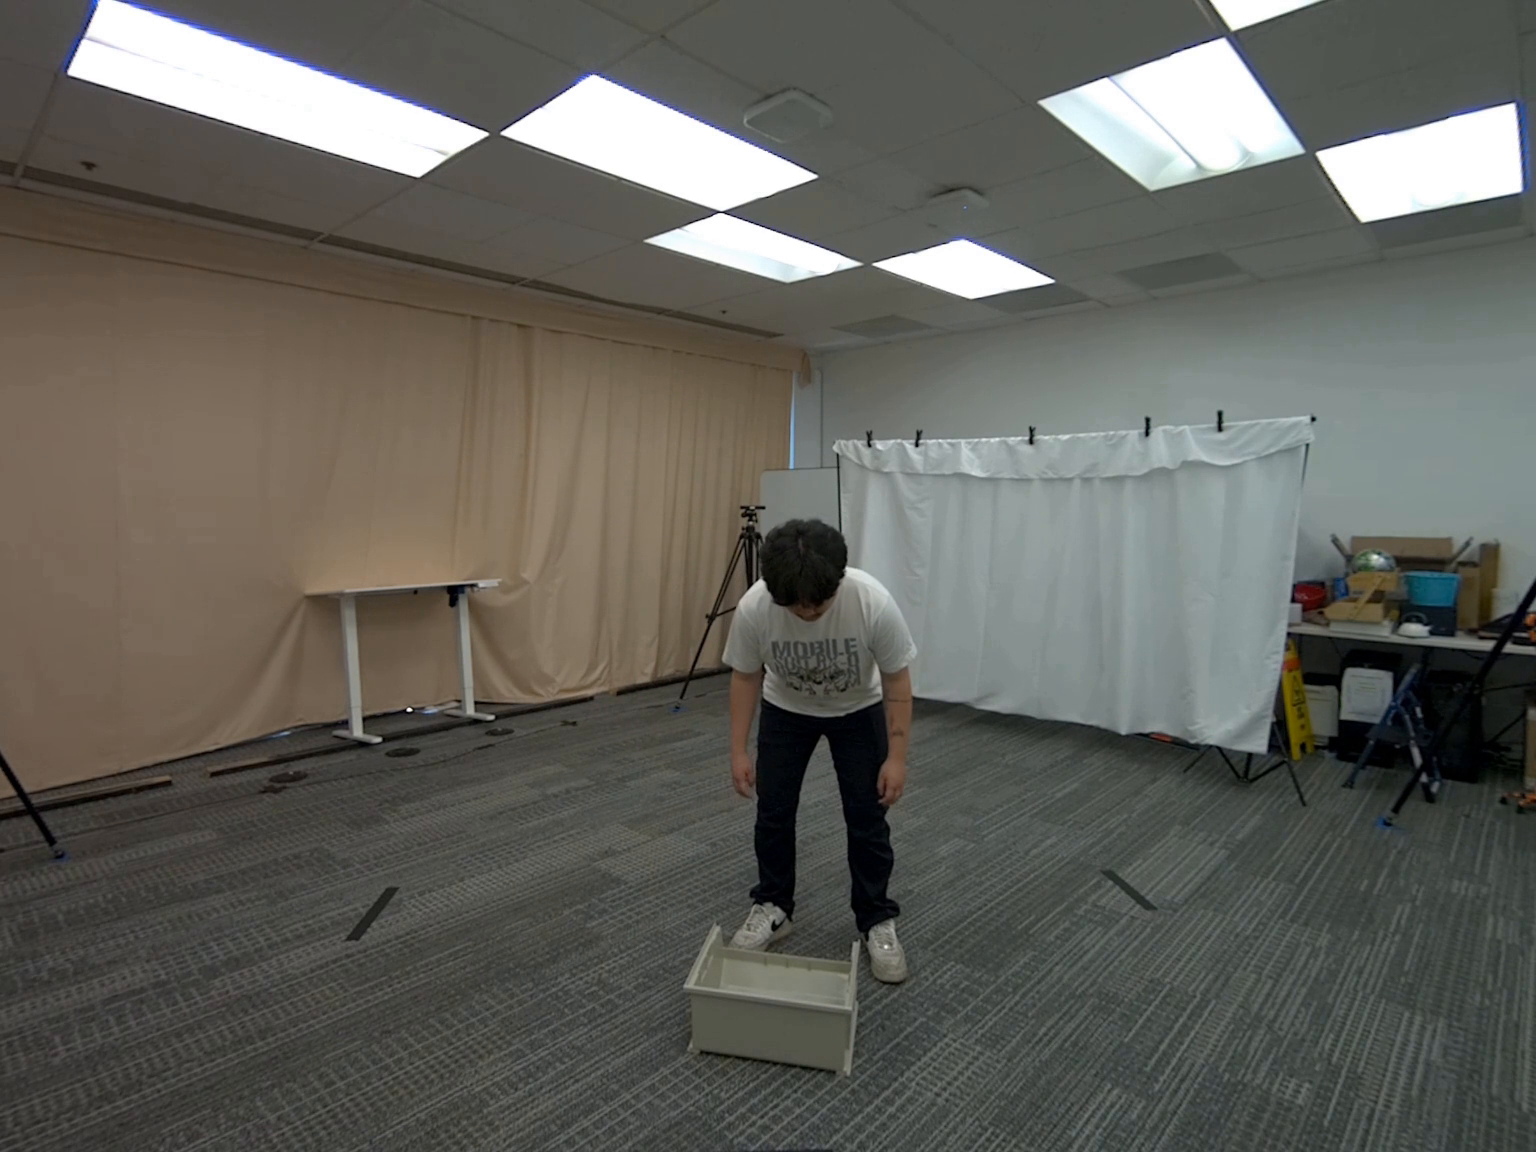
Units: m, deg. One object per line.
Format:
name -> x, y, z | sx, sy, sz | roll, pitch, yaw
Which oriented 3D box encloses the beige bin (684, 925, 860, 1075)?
beige bin -> 0.029, 1.114, 2.267 | 0.428, 0.188, 0.373 | 2, 5, 11
